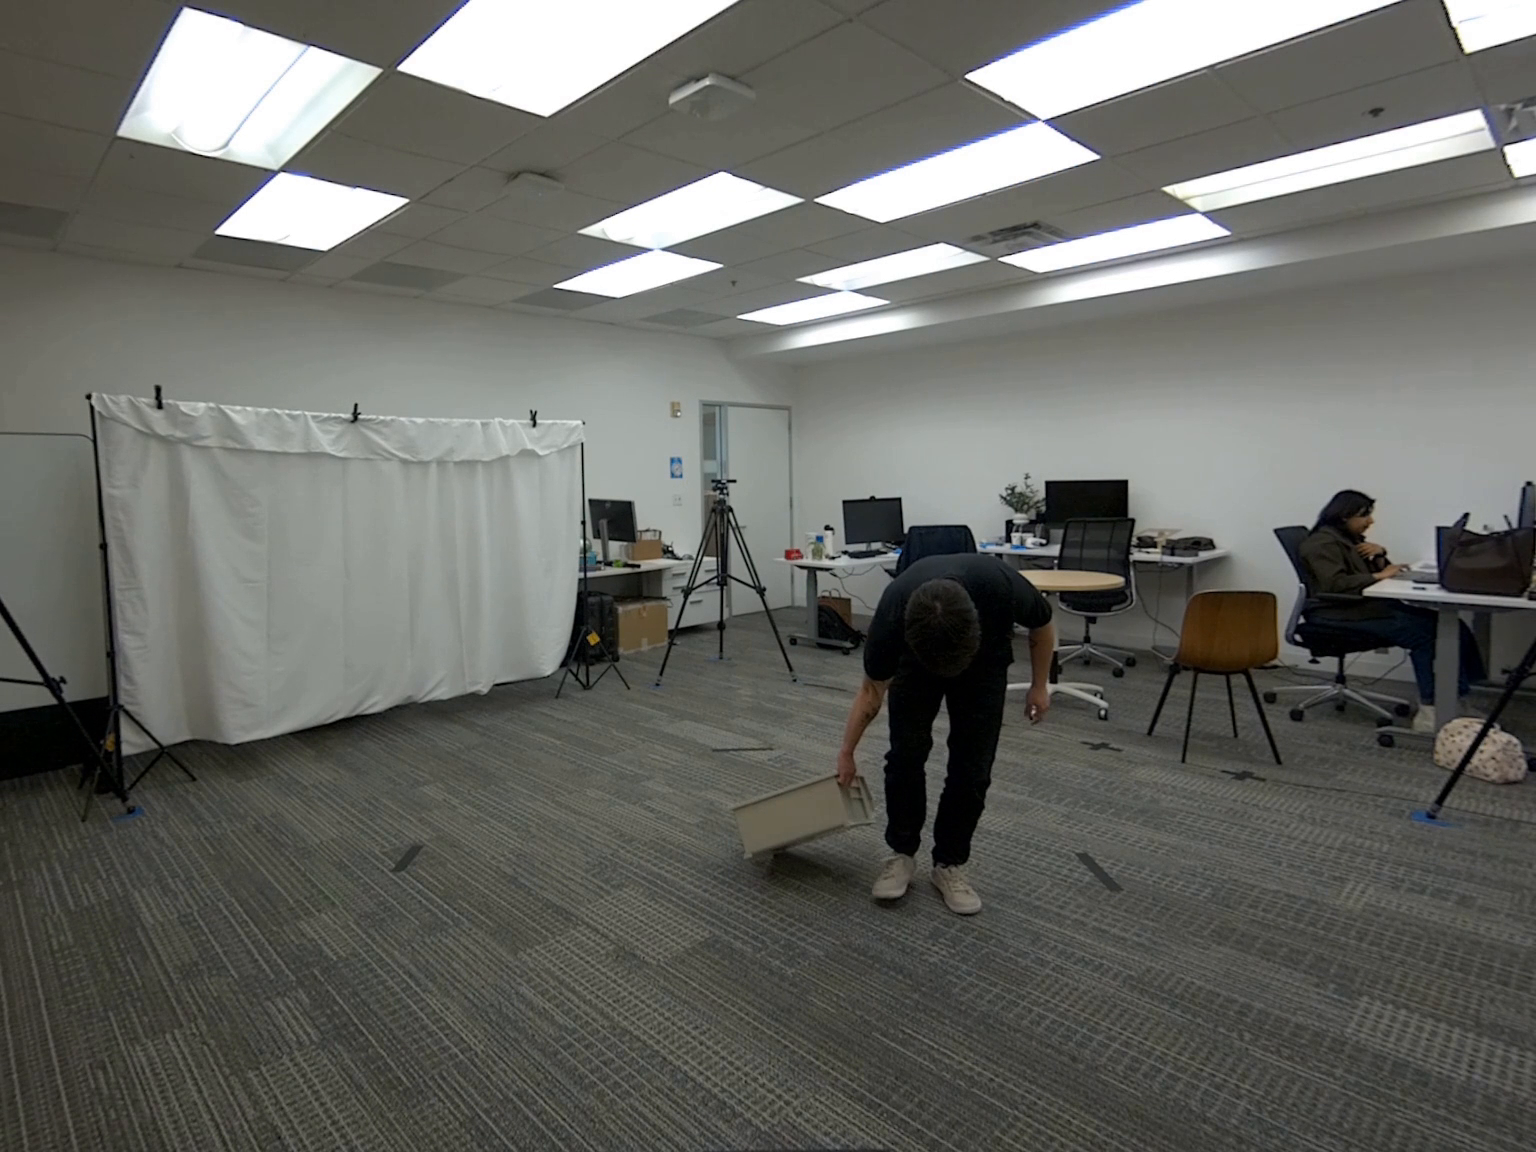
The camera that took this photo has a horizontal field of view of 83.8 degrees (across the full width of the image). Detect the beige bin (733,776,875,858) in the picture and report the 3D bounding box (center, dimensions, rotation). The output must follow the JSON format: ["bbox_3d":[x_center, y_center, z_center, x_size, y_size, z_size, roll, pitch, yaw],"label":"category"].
[{"bbox_3d":[0.134,0.854,3.049,0.426,0.193,0.366,-21,-19,16],"label":"beige bin"}]
